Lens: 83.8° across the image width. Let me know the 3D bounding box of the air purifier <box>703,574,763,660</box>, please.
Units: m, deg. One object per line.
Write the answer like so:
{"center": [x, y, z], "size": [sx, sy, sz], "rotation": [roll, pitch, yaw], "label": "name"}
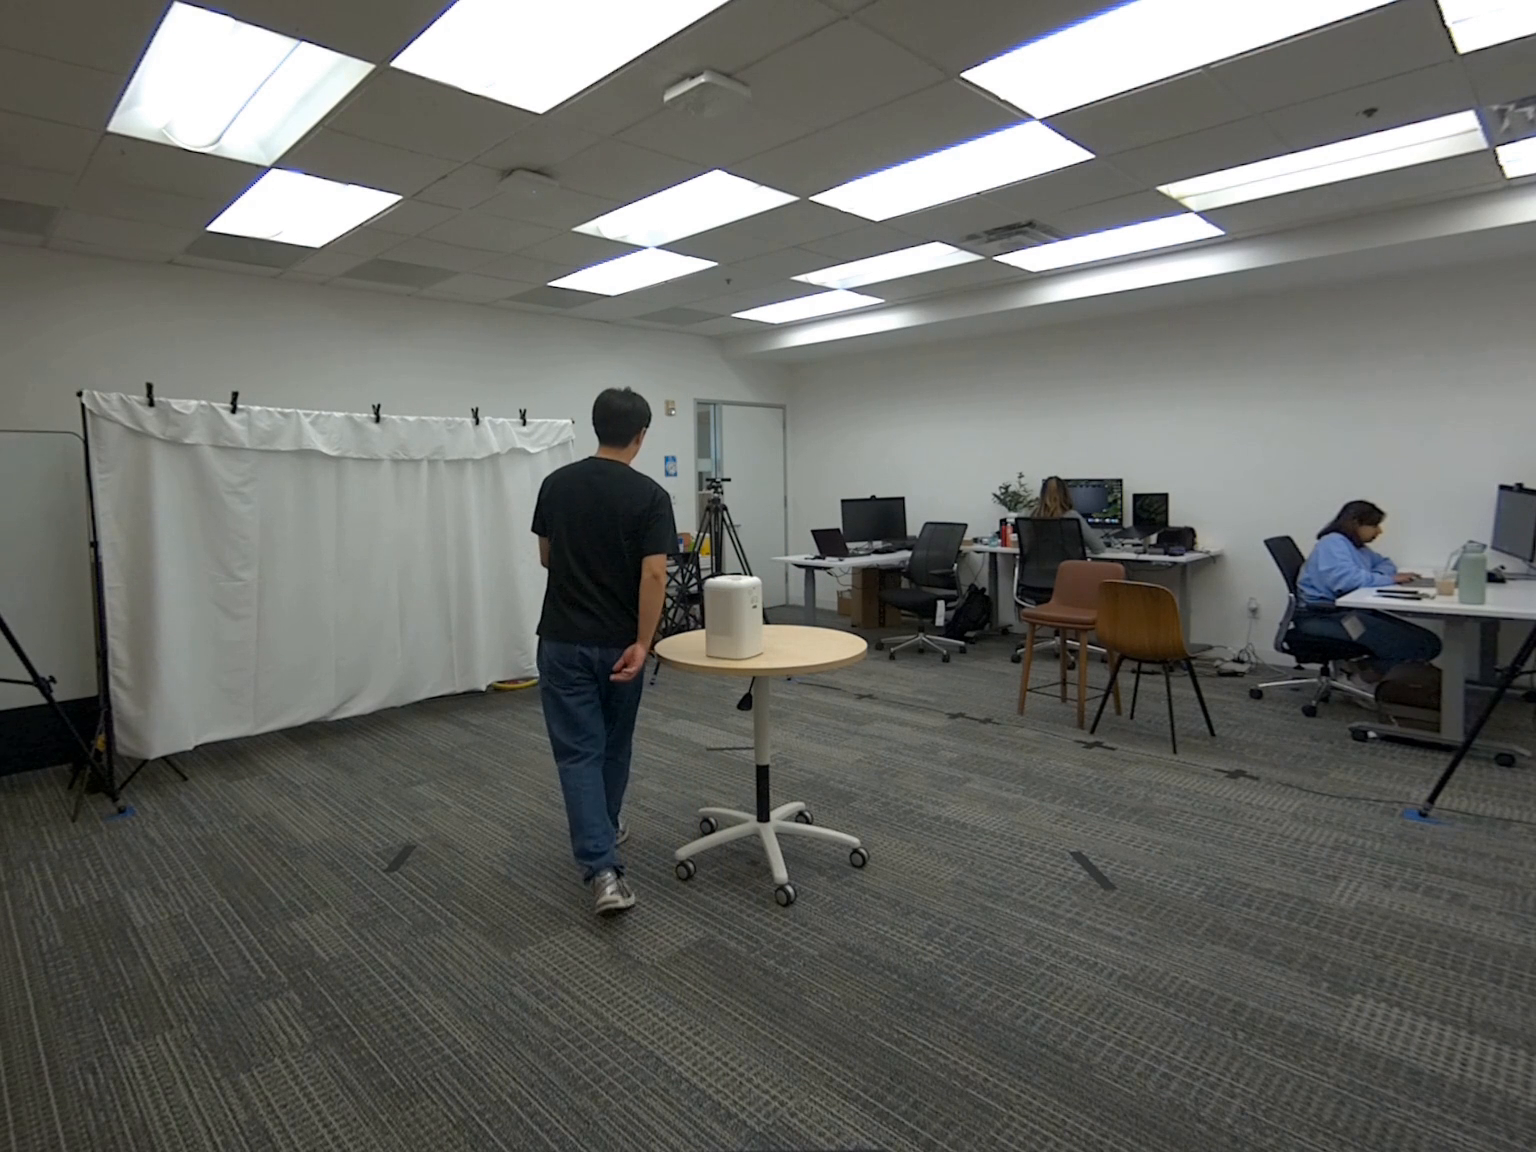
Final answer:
{"center": [-0.117, 0.135, 2.922], "size": [0.176, 0.264, 0.167], "rotation": [1, 6, 34], "label": "air purifier"}
